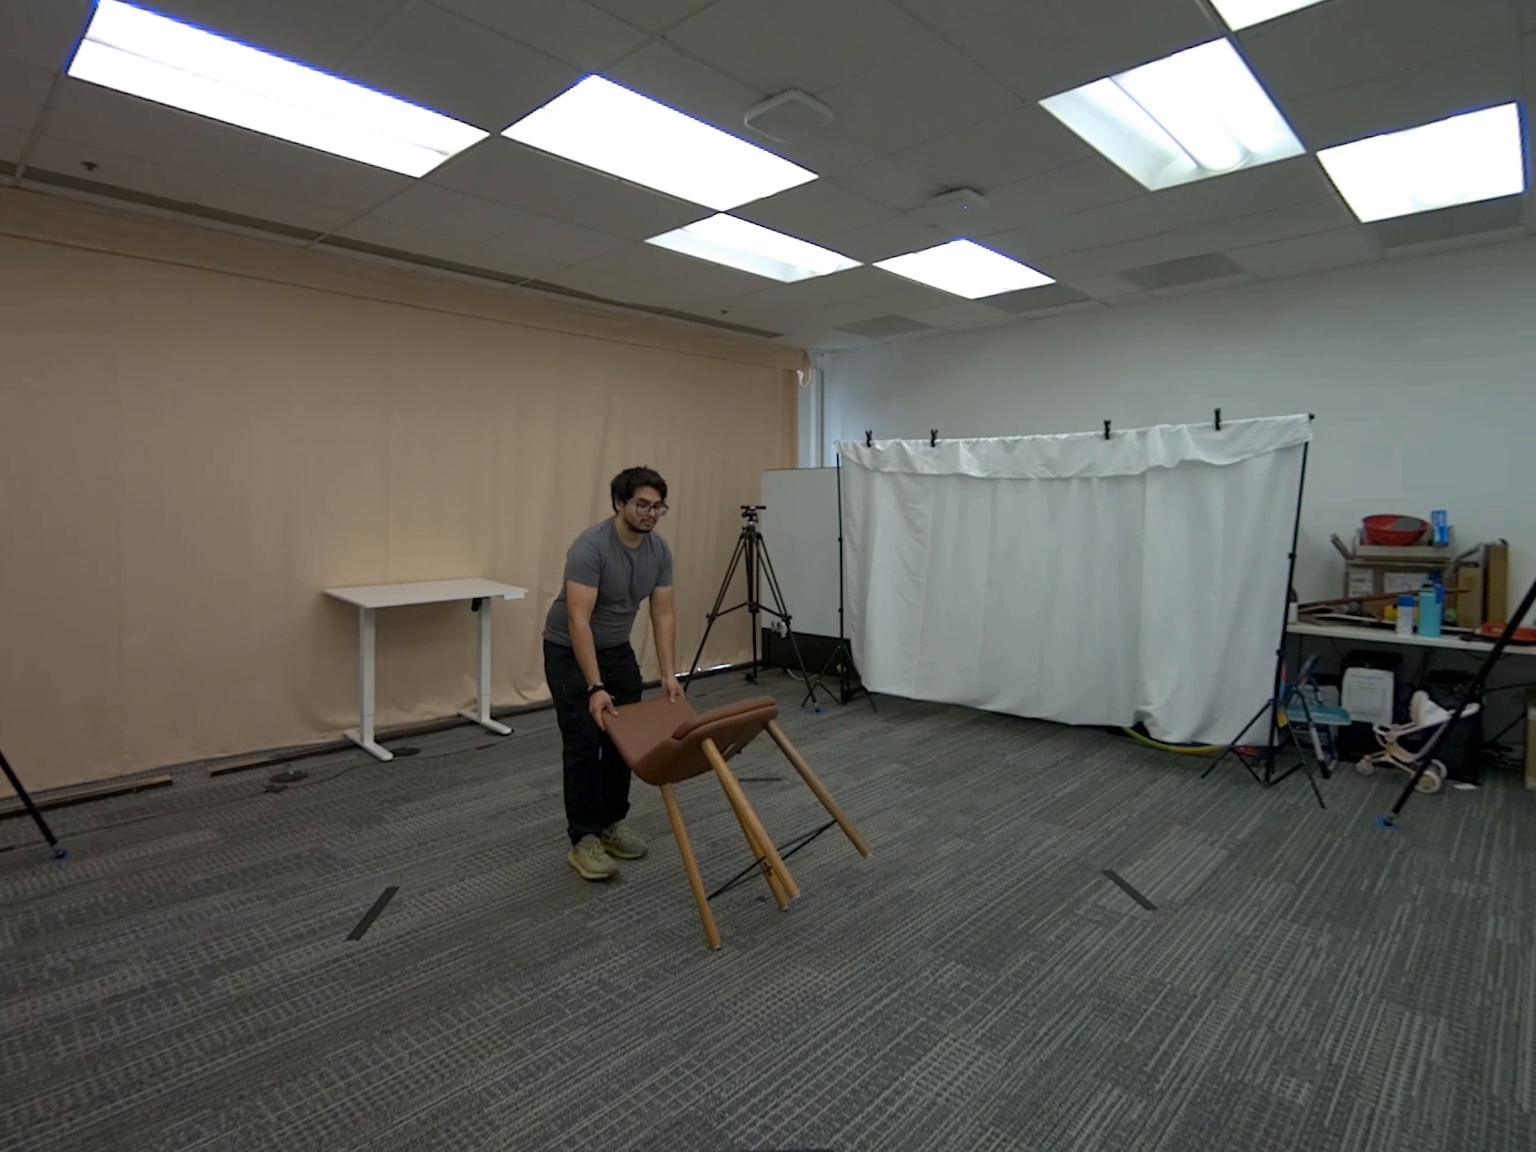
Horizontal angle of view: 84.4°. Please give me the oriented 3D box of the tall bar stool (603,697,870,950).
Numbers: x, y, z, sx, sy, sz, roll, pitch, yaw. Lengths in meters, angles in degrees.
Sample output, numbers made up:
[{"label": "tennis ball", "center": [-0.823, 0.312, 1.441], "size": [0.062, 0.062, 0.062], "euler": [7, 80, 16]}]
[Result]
[{"label": "tall bar stool", "center": [-0.144, 0.689, 2.832], "size": [0.443, 0.912, 0.470], "euler": [-5, -36, -48]}]
